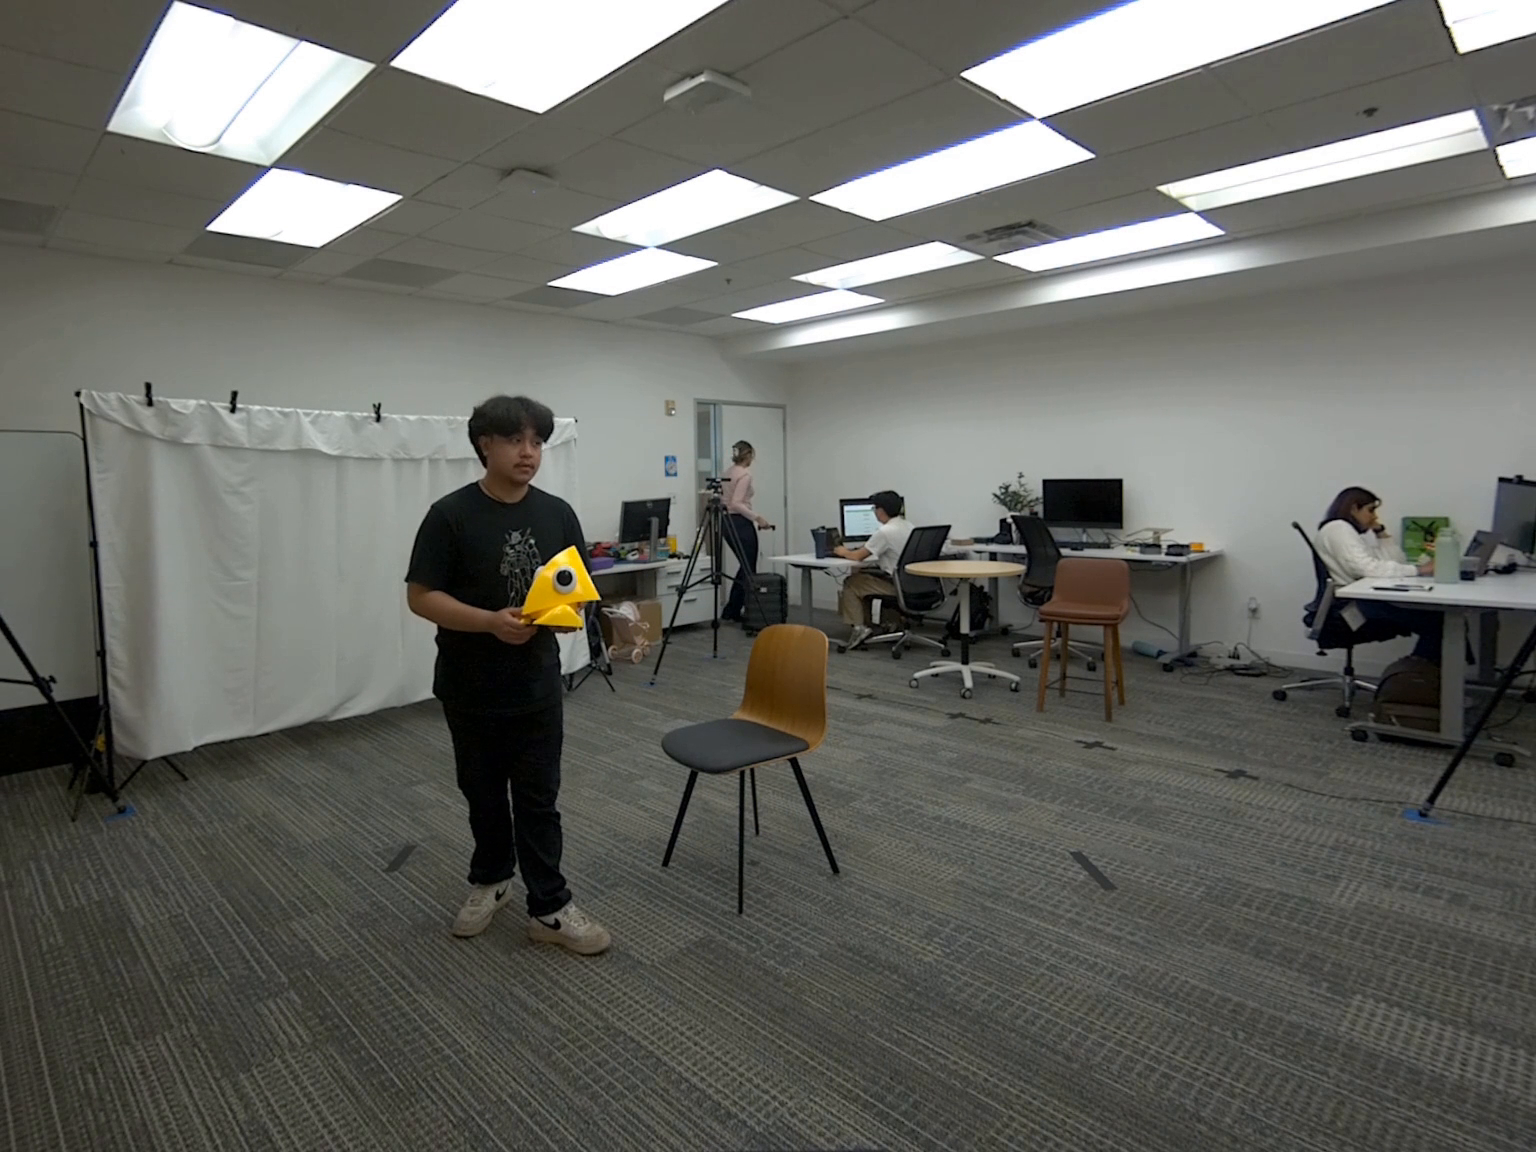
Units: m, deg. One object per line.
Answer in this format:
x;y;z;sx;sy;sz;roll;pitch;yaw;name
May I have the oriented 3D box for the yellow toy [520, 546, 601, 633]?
-0.611;0.025;2.406;0.210;0.232;0.187;0;-5;37;yellow toy
